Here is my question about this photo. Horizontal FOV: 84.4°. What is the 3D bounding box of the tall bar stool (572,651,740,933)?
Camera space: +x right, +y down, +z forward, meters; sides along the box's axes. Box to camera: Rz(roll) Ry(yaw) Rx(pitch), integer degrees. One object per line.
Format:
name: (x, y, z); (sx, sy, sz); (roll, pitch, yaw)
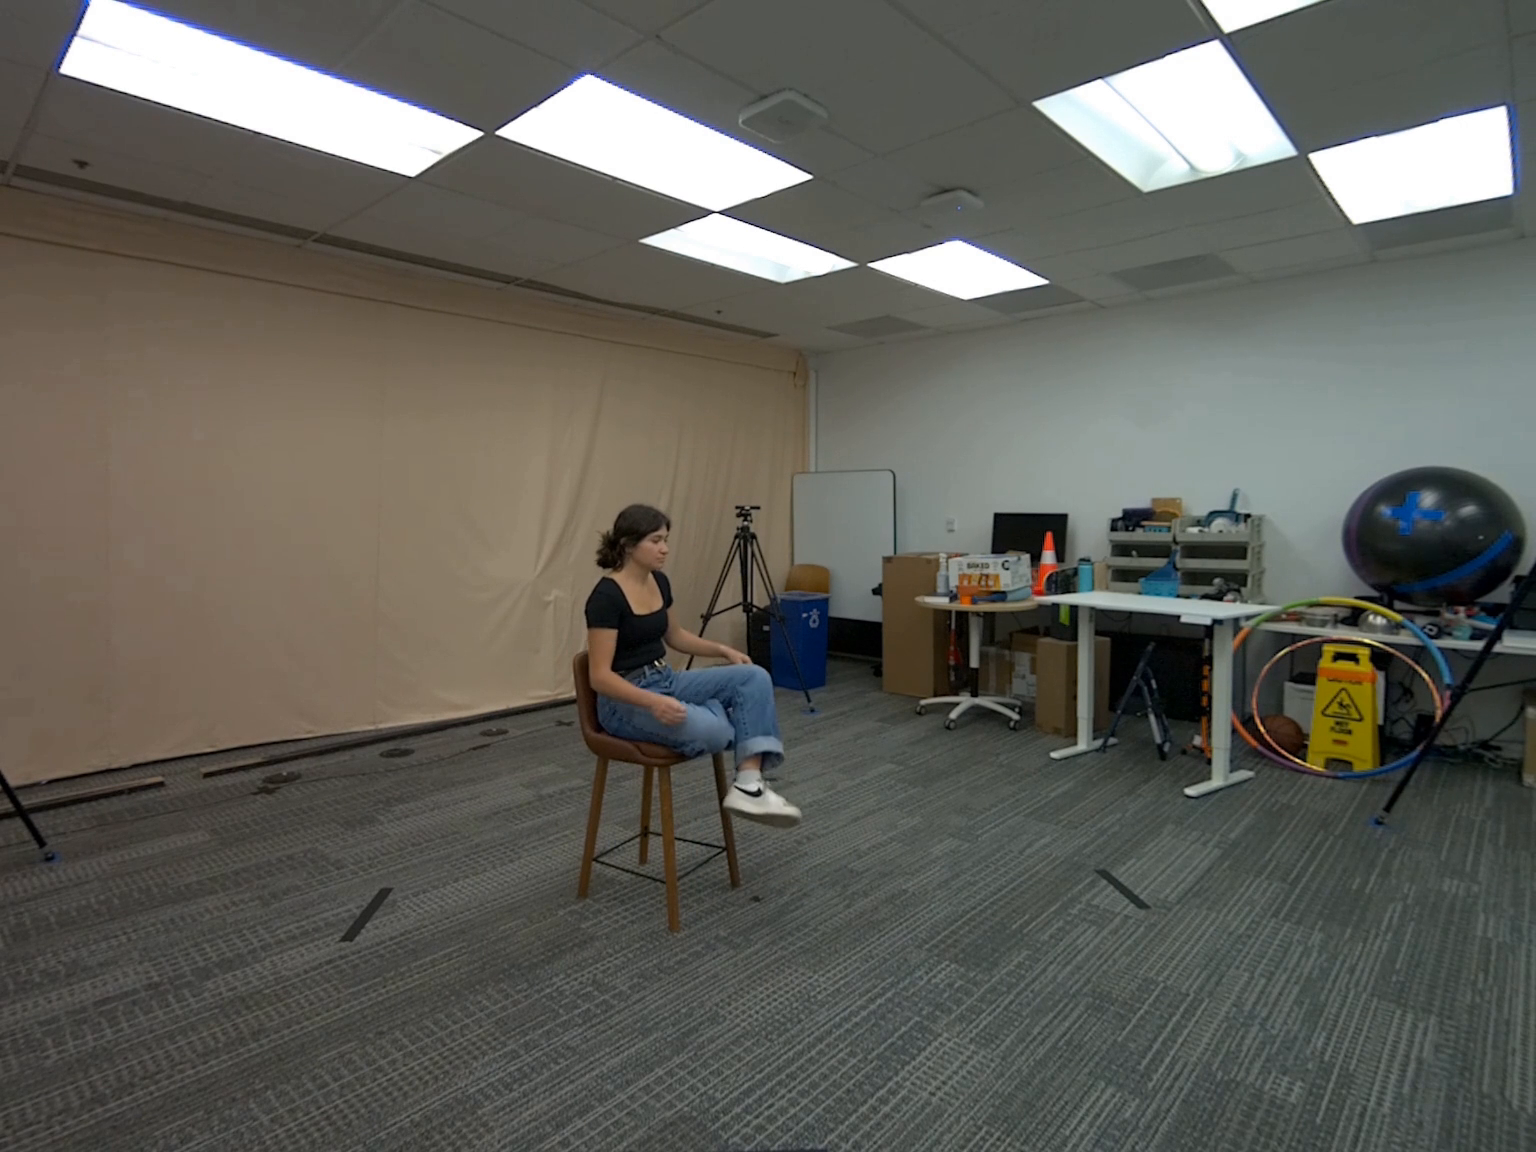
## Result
tall bar stool: (-0.406, 0.711, 3.024); (0.481, 0.888, 0.444); (-1, 2, 33)
